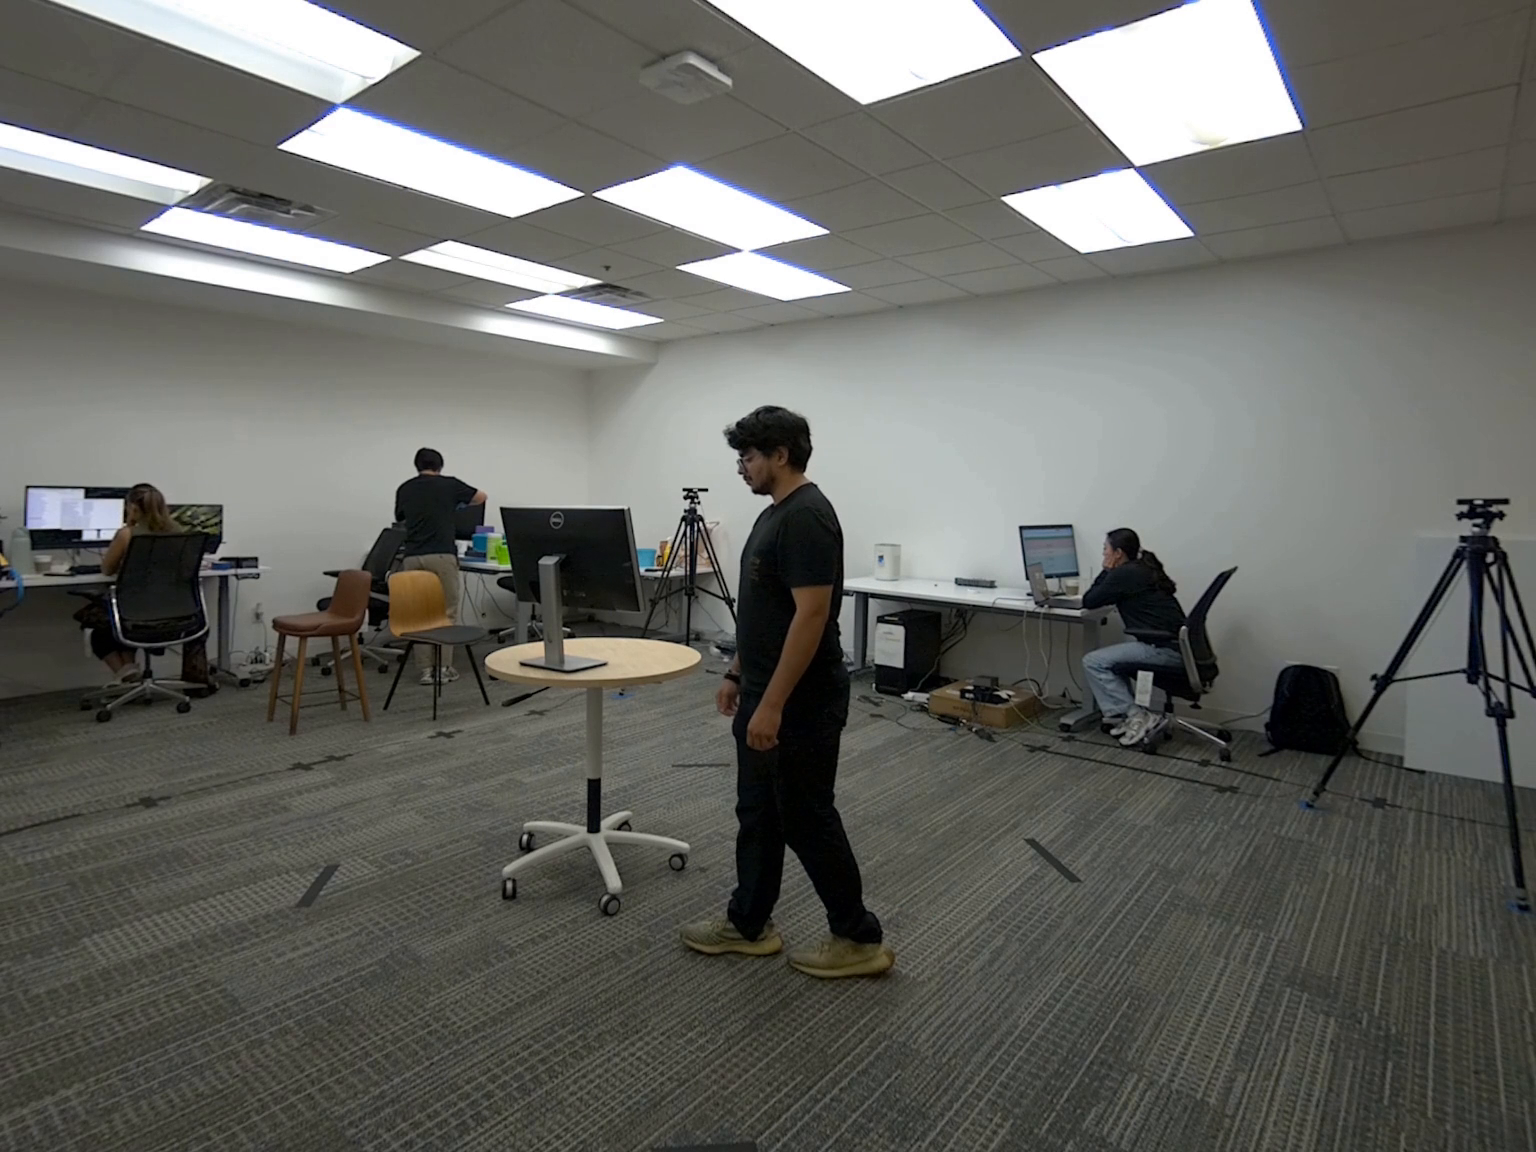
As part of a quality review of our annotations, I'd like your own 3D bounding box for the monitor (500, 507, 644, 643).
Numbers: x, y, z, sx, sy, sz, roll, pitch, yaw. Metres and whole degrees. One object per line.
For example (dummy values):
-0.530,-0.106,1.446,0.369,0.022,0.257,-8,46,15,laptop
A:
-0.722,0.038,2.873,0.581,0.549,0.206,3,10,29,monitor
